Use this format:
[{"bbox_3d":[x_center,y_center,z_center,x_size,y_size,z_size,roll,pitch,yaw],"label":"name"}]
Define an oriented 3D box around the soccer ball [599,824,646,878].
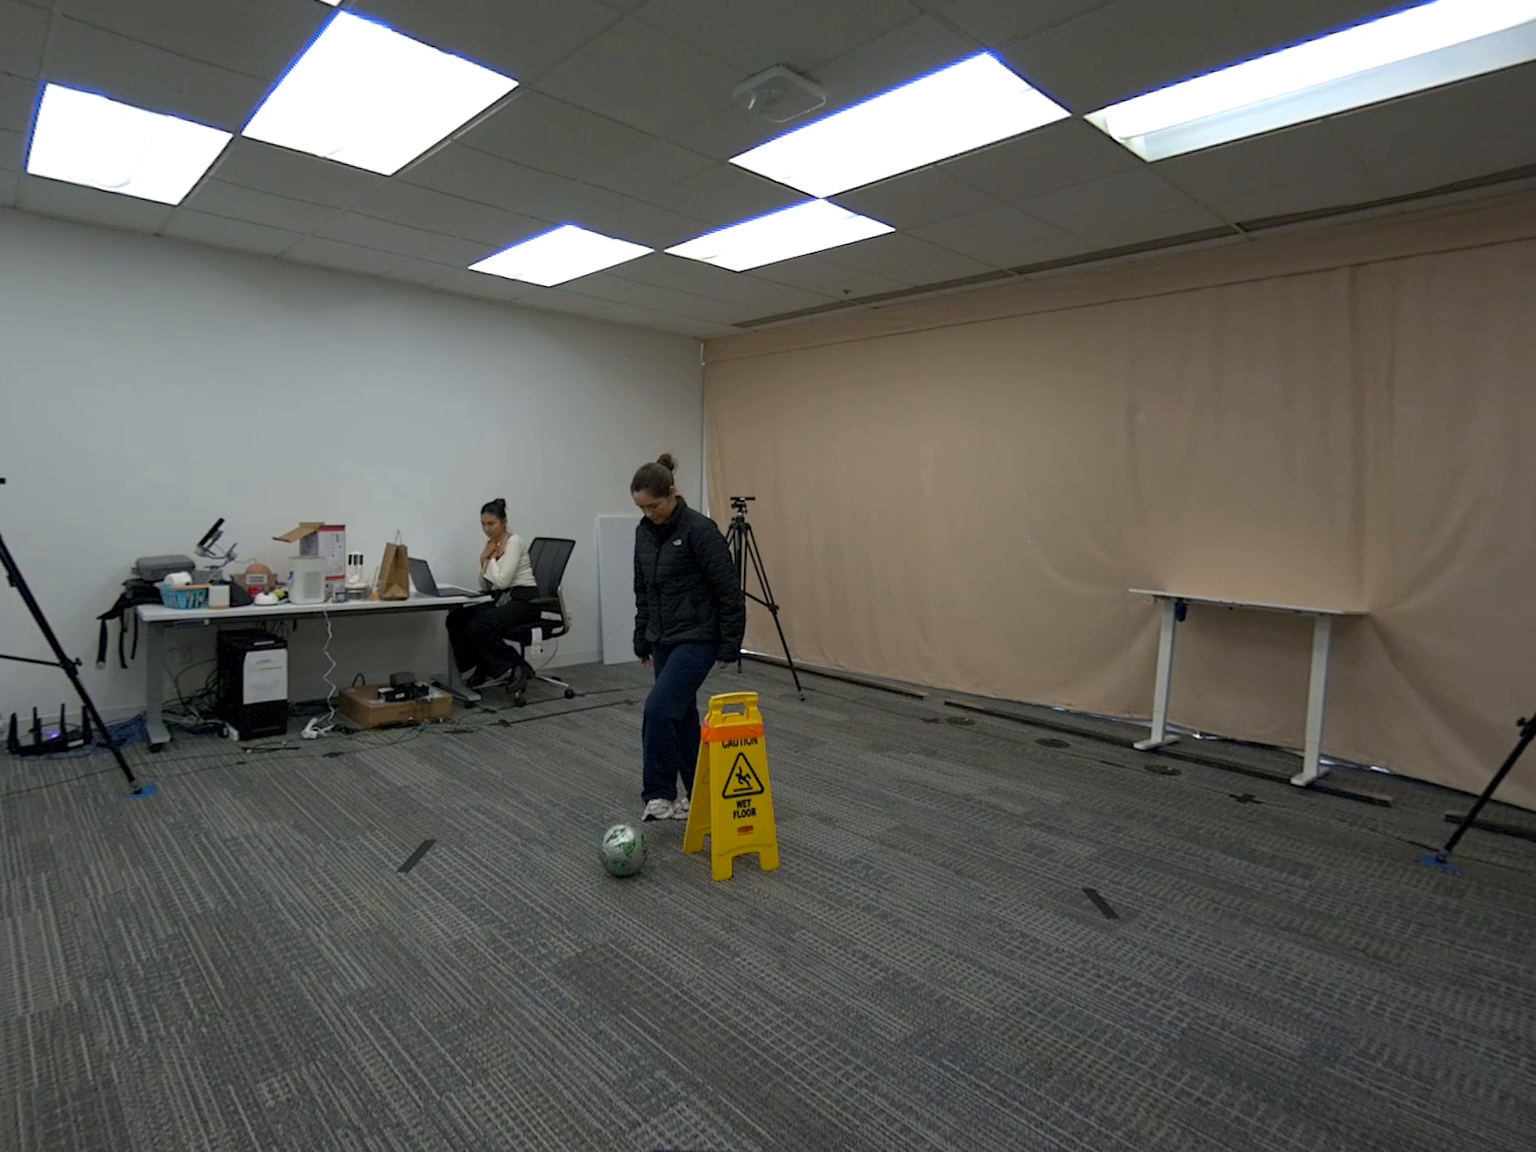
[{"bbox_3d":[-0.542,1.005,3.097,0.187,0.187,0.188,1,4,-1],"label":"soccer ball"}]
